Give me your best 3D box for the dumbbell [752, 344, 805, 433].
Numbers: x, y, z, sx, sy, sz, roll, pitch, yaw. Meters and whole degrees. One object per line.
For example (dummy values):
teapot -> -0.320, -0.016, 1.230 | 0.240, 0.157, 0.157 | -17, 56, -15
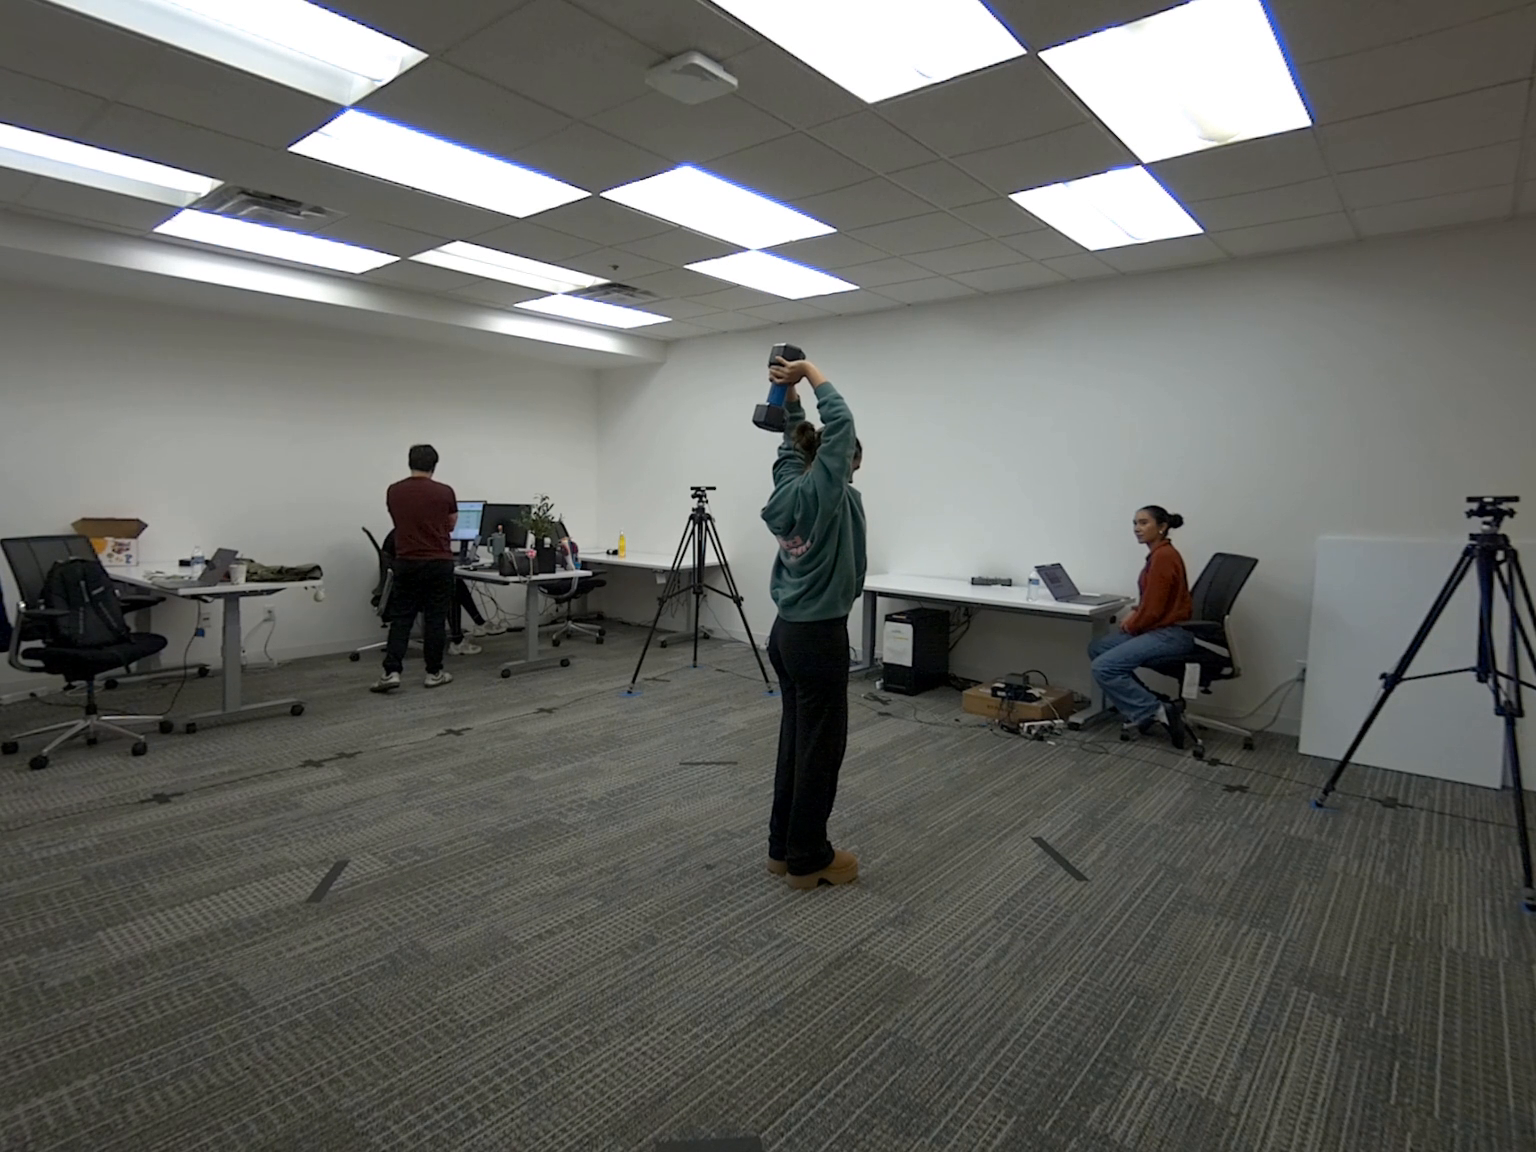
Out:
dumbbell -> 0.034, -0.651, 2.948 | 0.120, 0.294, 0.111 | 19, -3, -16
